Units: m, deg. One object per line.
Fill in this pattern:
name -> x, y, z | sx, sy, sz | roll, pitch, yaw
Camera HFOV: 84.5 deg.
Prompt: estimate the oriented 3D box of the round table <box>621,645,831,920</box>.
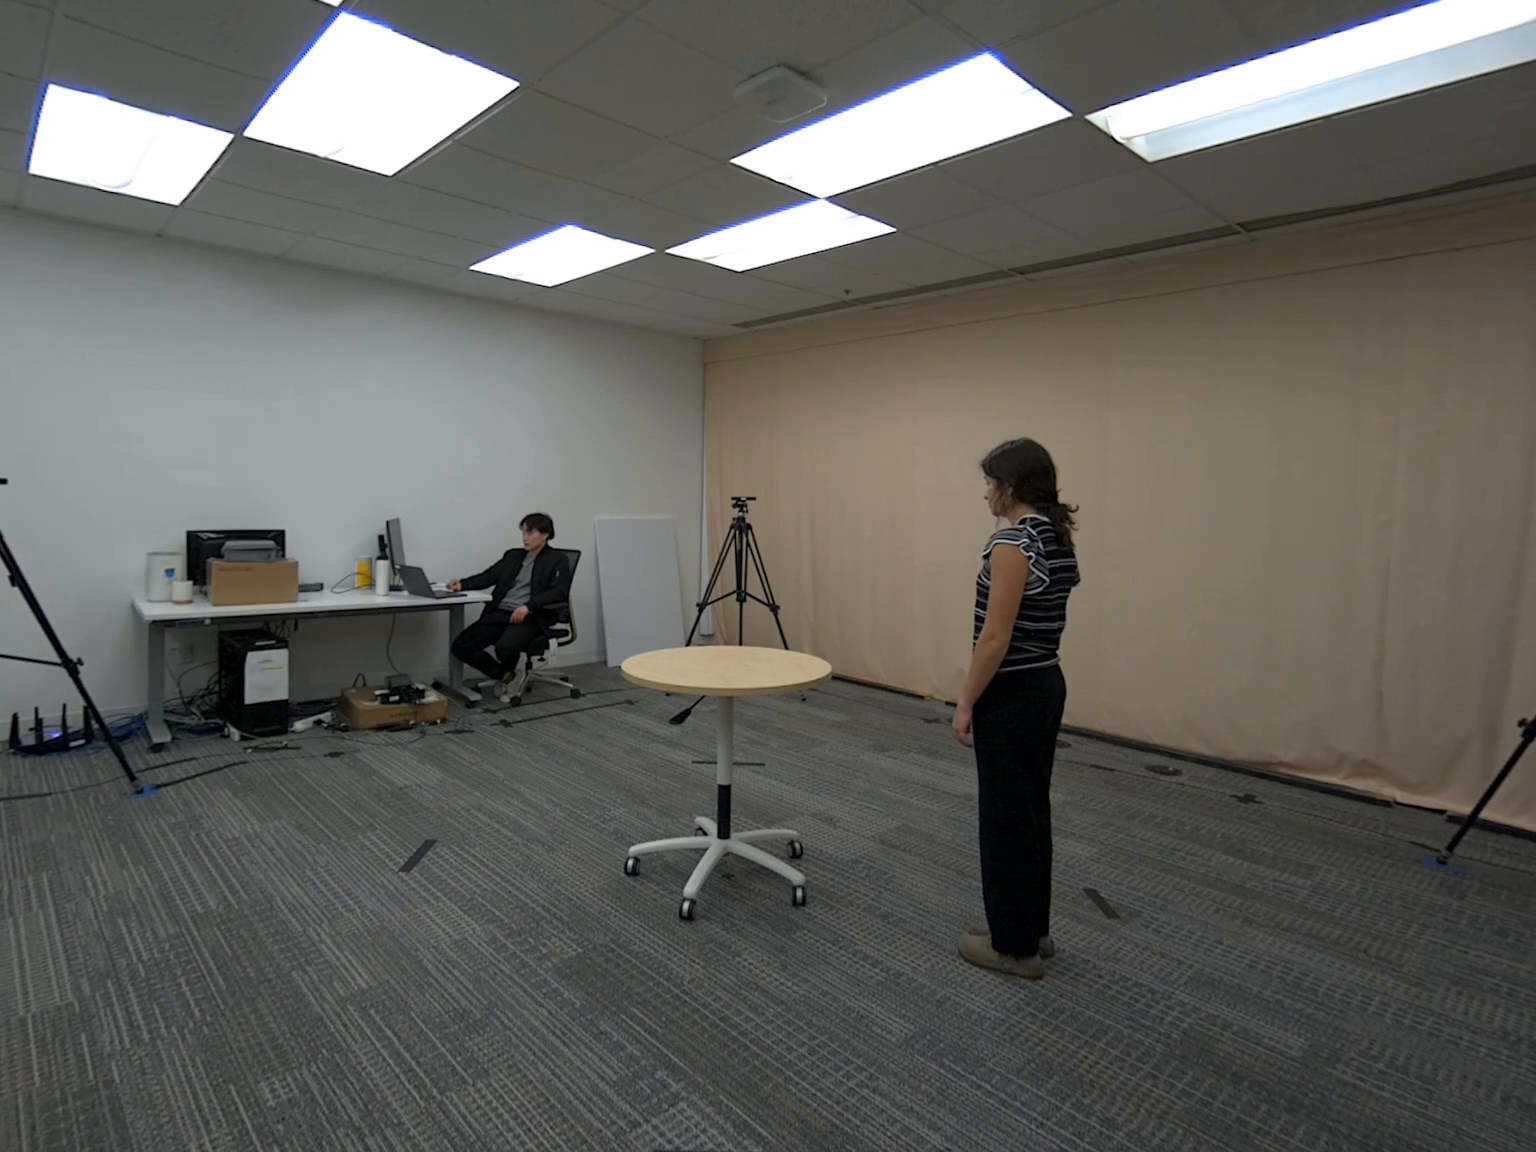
round table -> -0.160, 0.717, 3.093 | 0.763, 0.792, 0.767 | 1, 4, -1
